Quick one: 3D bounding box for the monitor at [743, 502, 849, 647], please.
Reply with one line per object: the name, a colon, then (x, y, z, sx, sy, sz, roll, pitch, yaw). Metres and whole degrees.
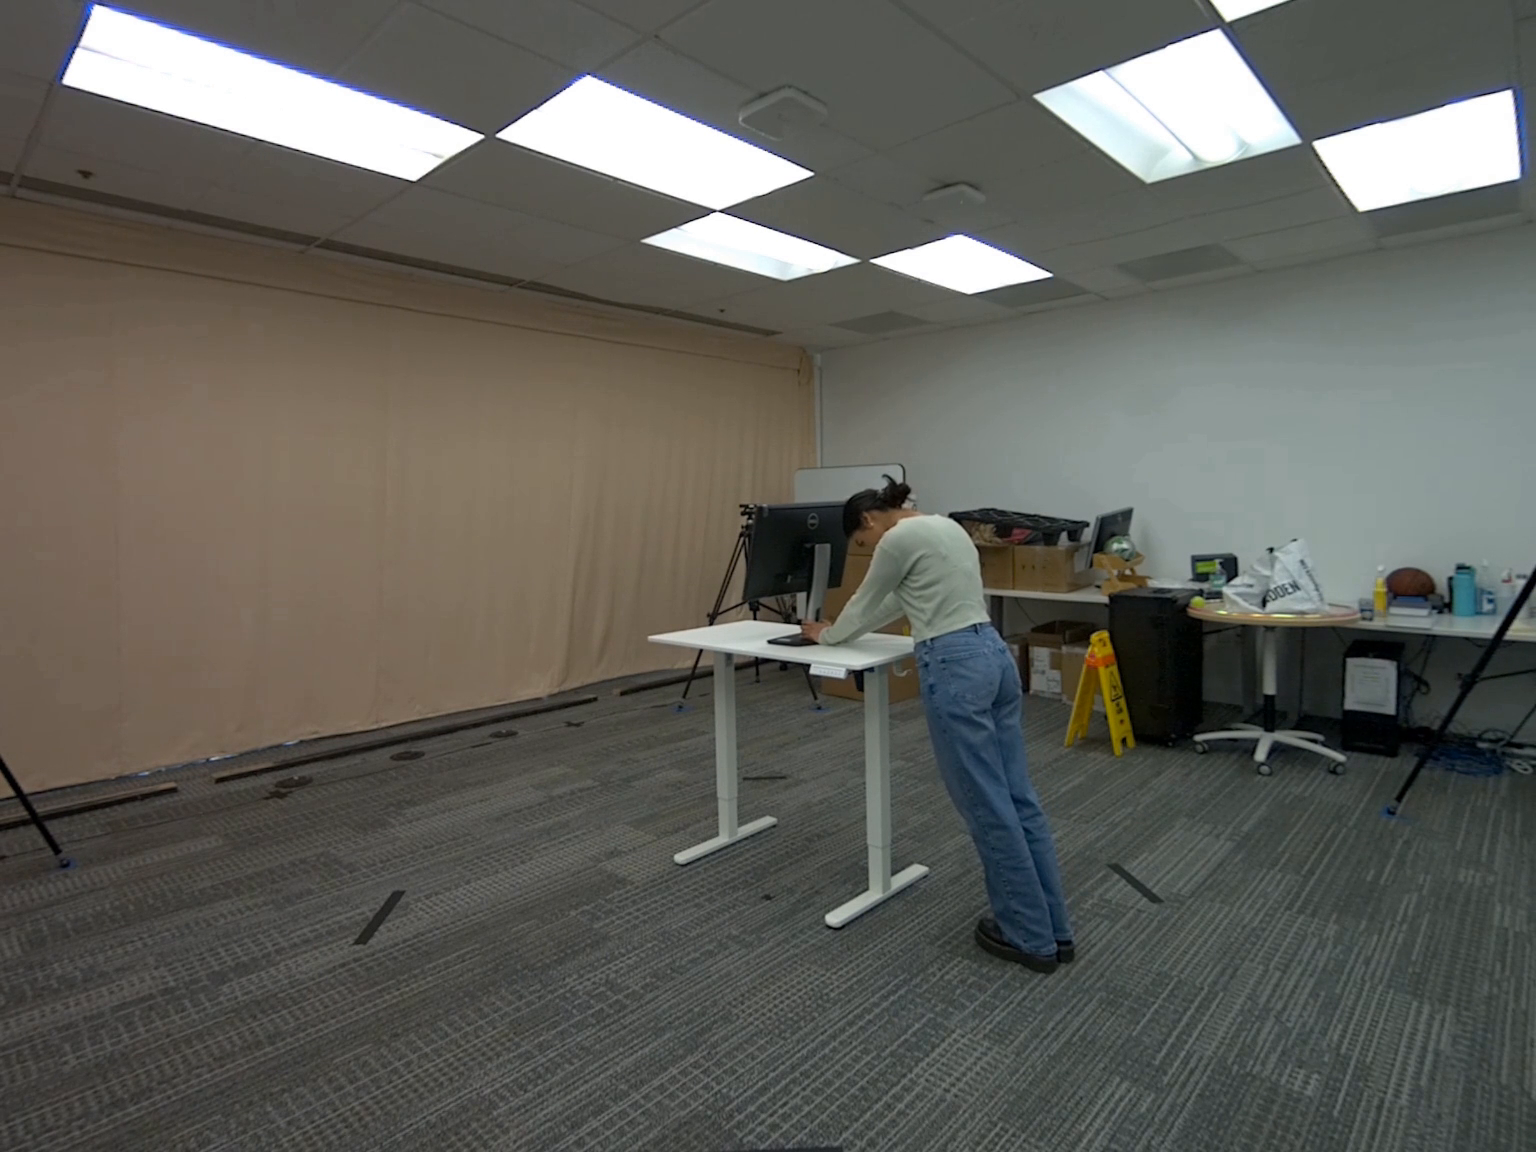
monitor: (0.150, -0.009, 3.116, 0.193, 0.521, 0.523, 4, 7, 43)
